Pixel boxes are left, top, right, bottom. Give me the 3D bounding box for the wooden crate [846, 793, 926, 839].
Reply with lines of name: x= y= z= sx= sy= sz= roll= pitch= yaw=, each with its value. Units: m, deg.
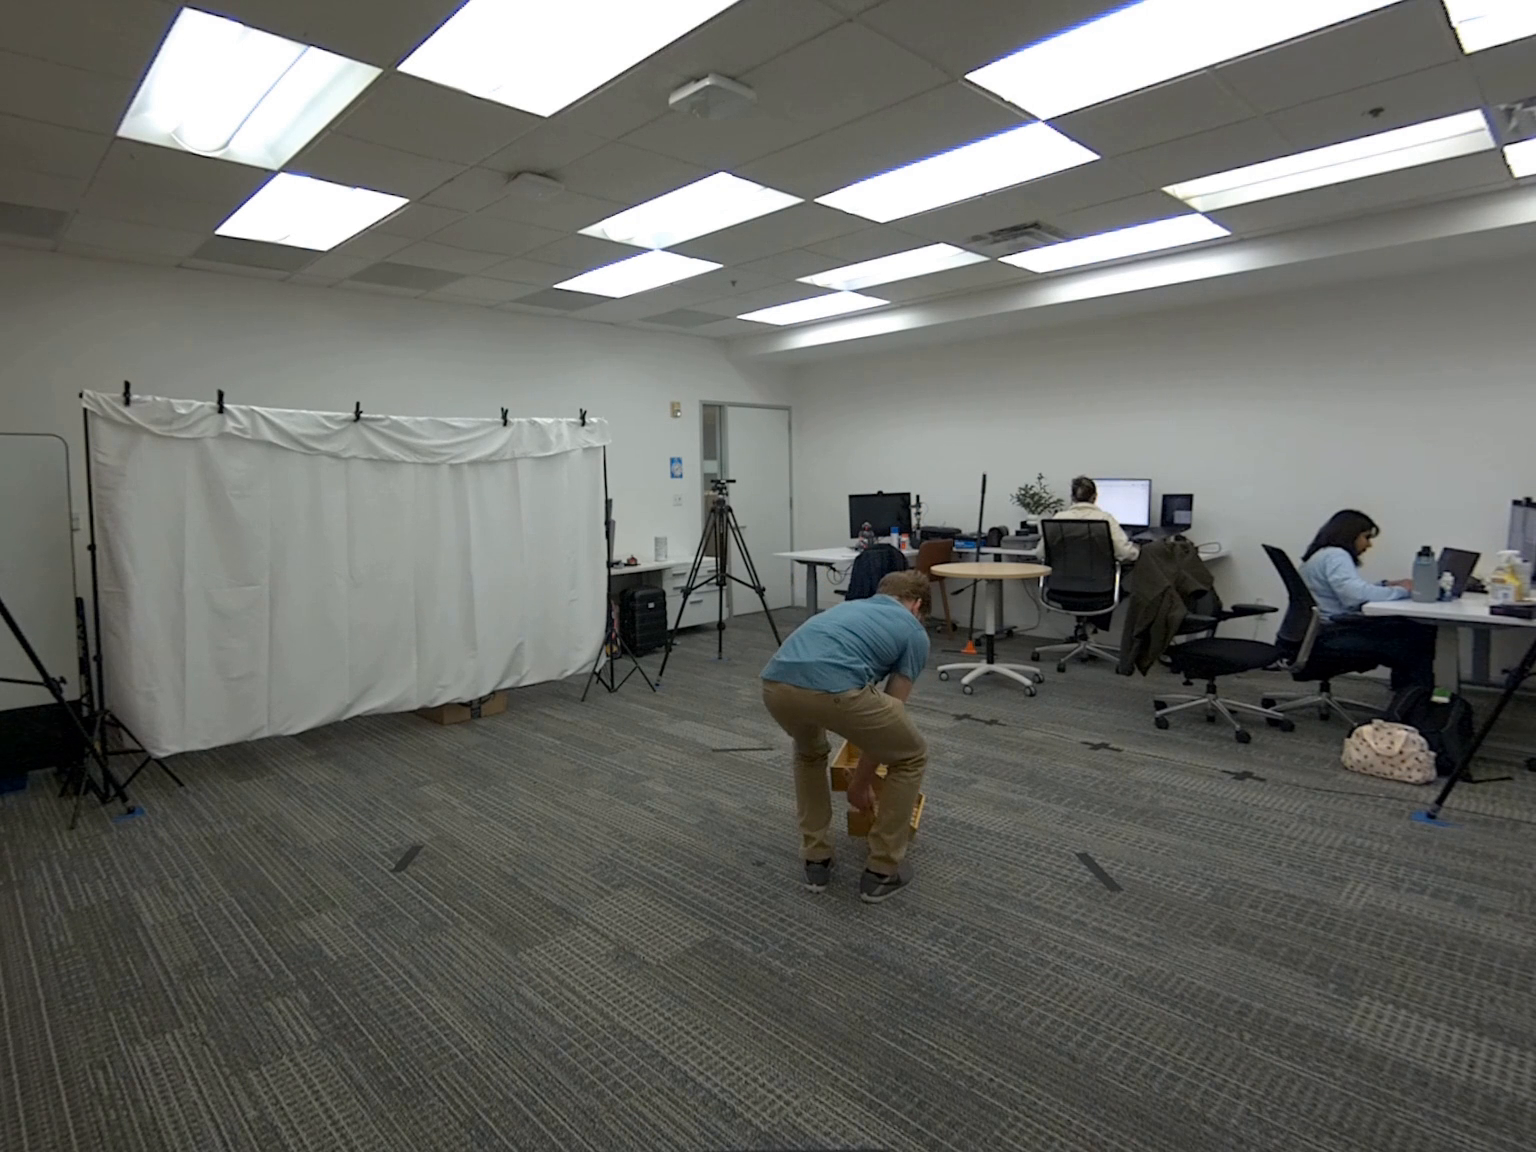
wooden crate: x=0.437 y=0.797 z=3.225 sx=0.307 sy=0.272 sz=0.321 roll=-2 pitch=7 yaw=18
